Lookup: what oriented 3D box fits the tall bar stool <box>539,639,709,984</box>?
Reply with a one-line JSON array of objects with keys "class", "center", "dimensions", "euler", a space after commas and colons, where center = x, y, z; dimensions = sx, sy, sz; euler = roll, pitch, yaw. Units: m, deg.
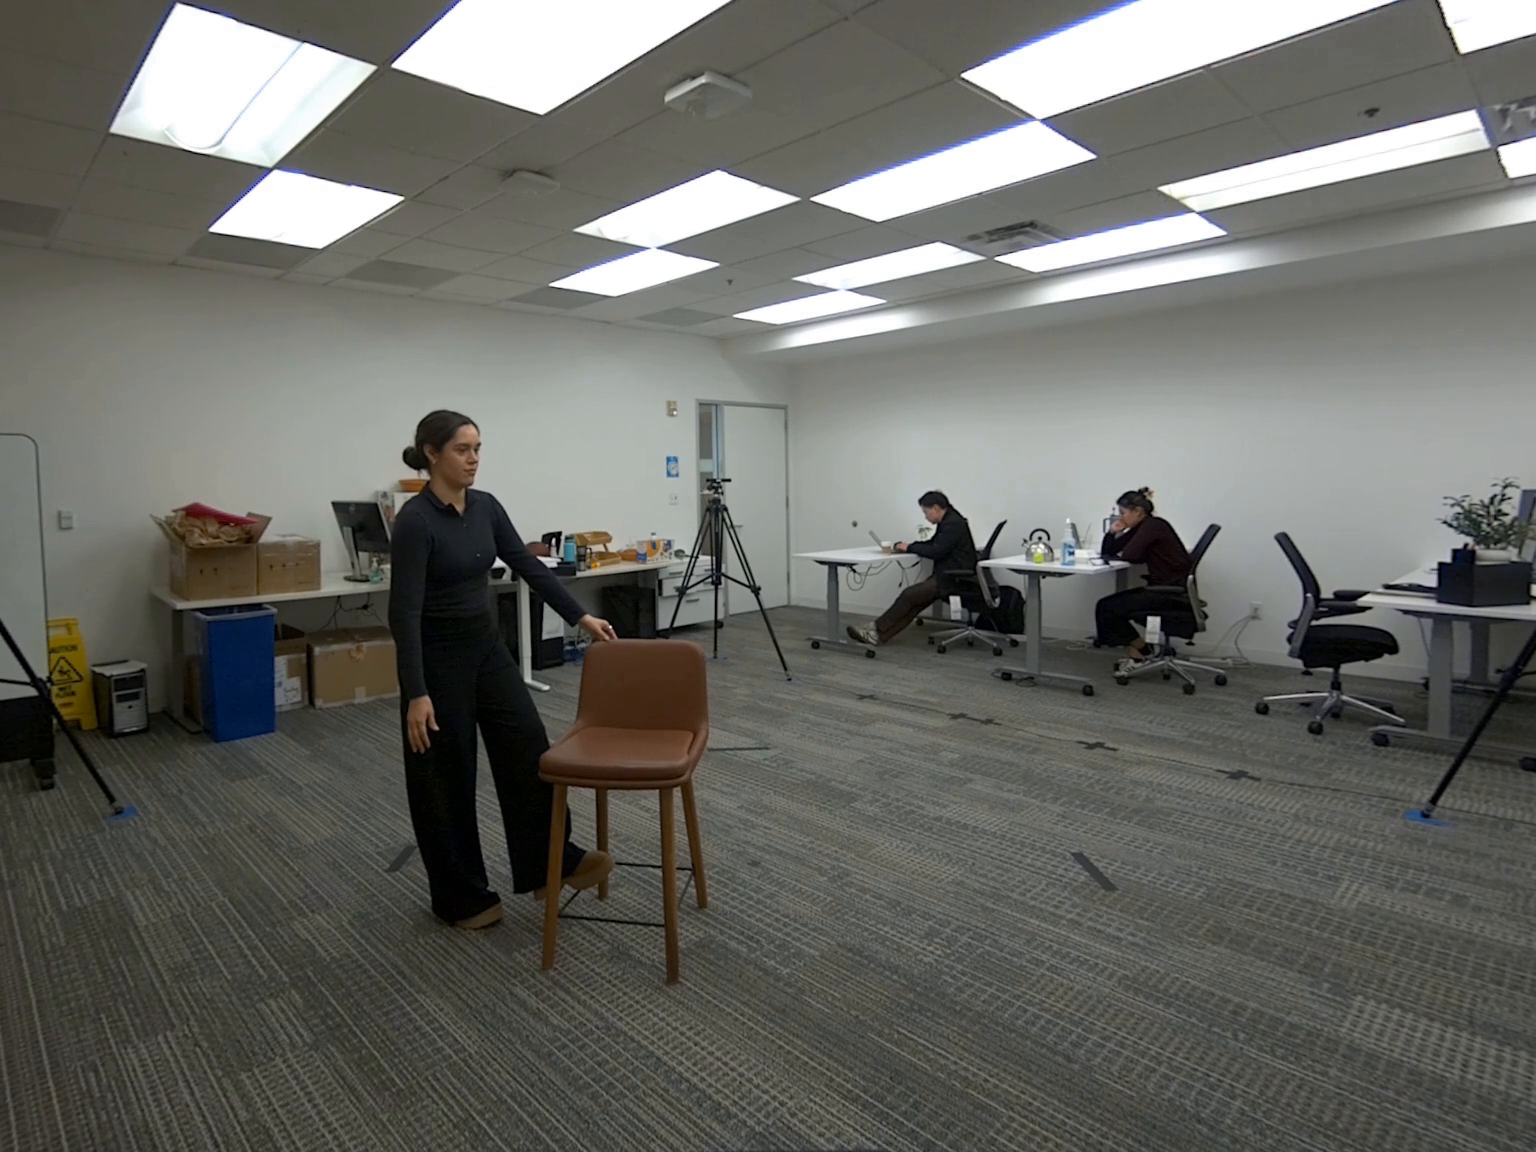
[{"class": "tall bar stool", "center": [-0.420, 0.675, 2.607], "dimensions": [0.462, 0.887, 0.463], "euler": [0, 3, 12]}]
